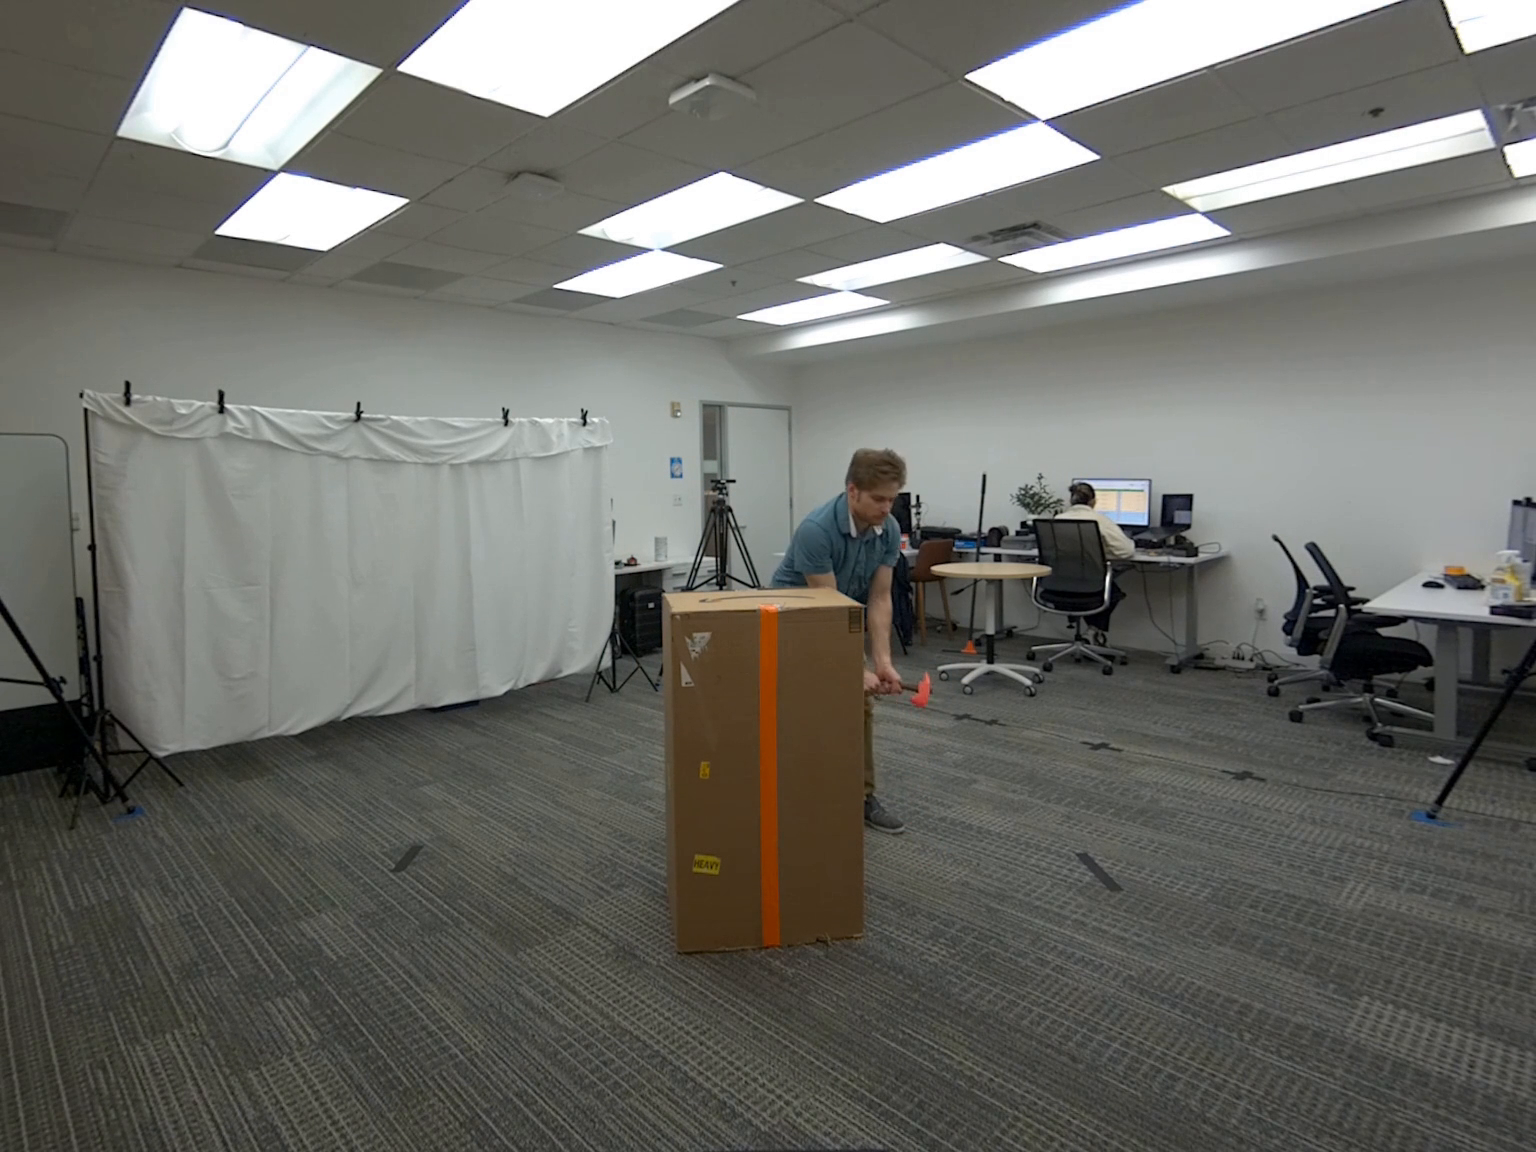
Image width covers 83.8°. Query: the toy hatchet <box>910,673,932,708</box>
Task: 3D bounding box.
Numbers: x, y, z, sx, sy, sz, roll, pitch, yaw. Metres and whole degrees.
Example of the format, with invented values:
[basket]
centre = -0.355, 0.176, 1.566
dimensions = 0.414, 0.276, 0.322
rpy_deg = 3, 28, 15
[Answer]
[toy hatchet]
centre = 0.465, 0.442, 3.145
dimensions = 0.270, 0.134, 0.029
rpy_deg = -10, -28, -2
